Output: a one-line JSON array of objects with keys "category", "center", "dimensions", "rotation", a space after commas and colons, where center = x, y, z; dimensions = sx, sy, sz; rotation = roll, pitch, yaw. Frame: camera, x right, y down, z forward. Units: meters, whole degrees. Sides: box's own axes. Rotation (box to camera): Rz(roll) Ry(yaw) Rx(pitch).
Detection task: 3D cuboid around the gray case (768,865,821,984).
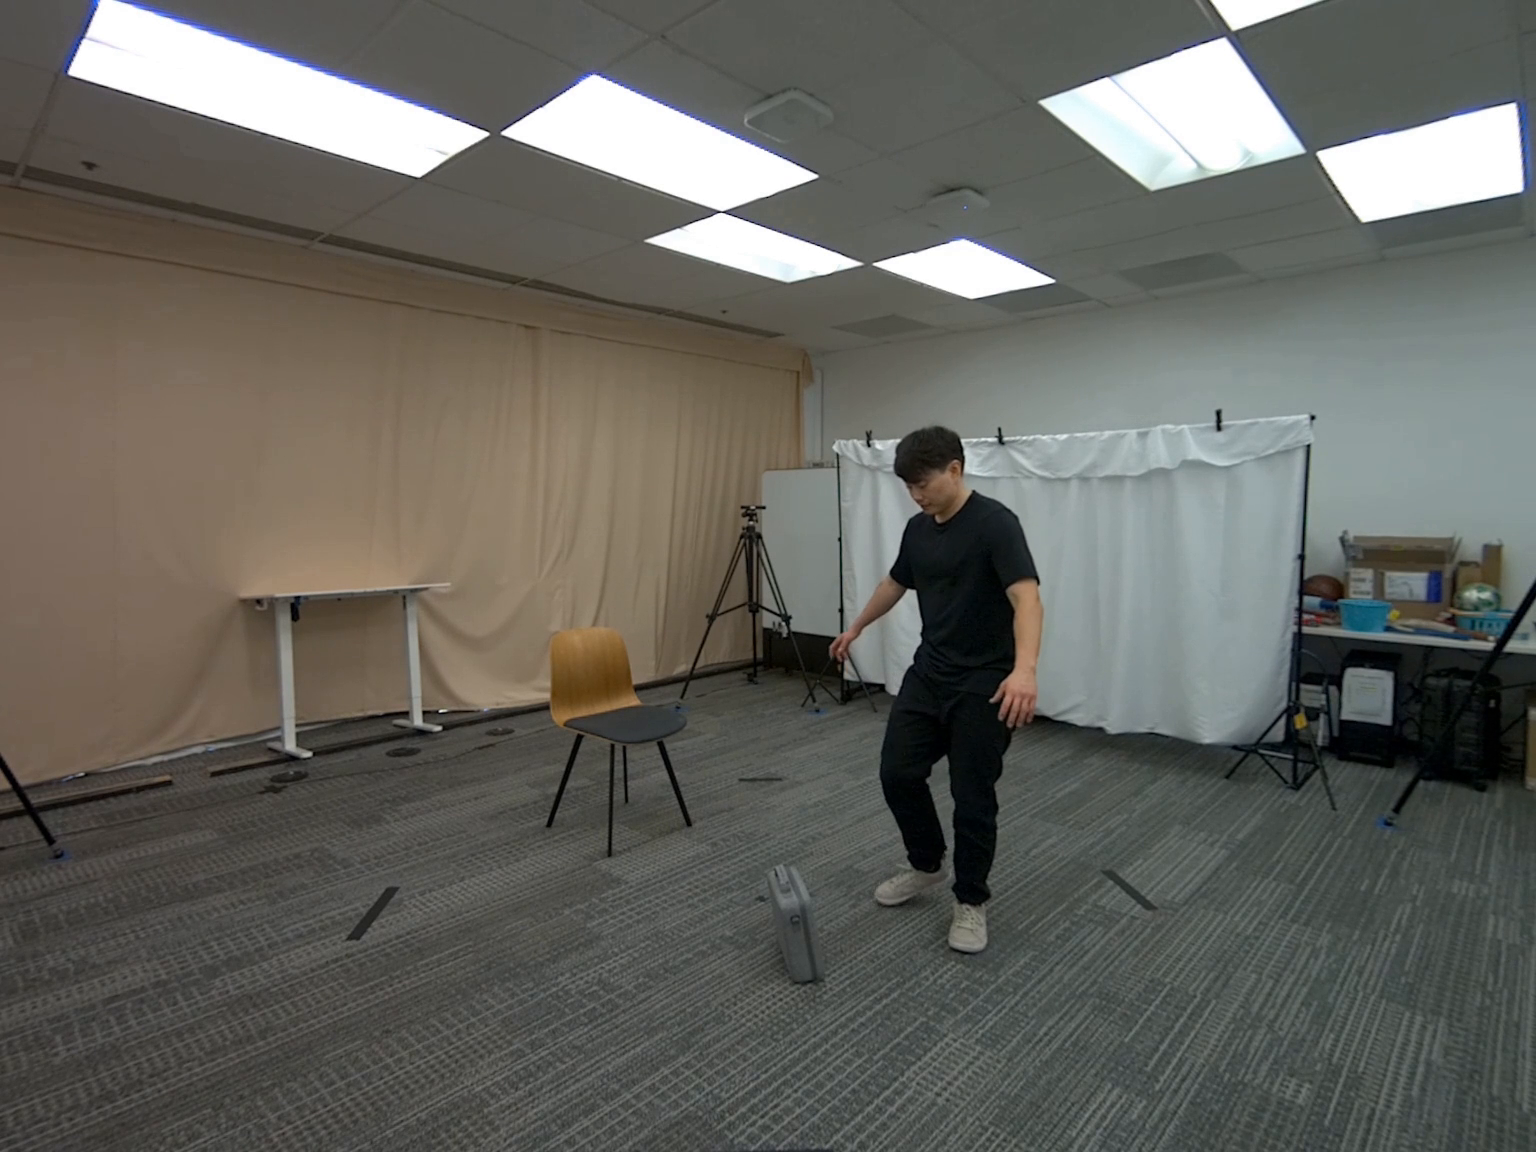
[{"category": "gray case", "center": [0.084, 1.046, 2.551], "dimensions": [0.103, 0.260, 0.259], "rotation": [-9, 3, -8]}]
